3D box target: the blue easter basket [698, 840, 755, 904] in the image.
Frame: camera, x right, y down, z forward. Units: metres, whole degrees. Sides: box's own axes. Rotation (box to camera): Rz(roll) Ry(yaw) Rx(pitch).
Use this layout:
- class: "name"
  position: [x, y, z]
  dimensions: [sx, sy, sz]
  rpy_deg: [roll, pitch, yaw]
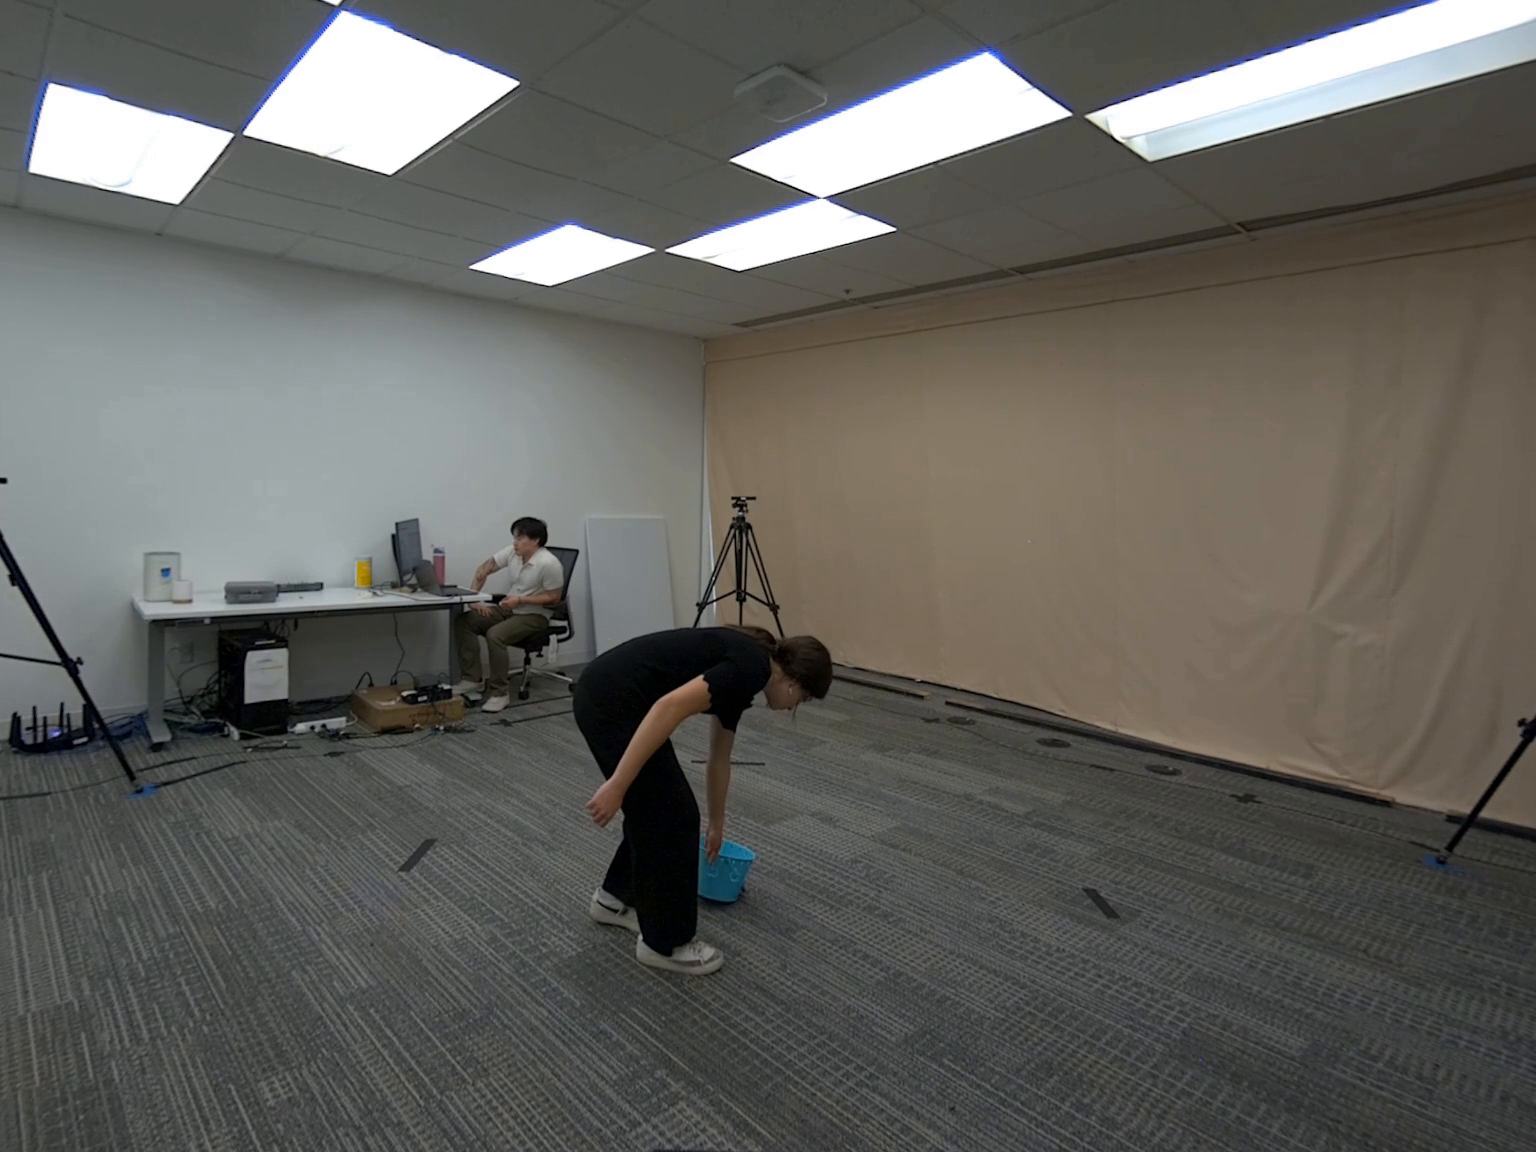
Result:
- class: "blue easter basket"
  position: [-0.178, 1.024, 2.924]
  dimensions: [0.244, 0.156, 0.242]
  rpy_deg: [14, -5, 0]
